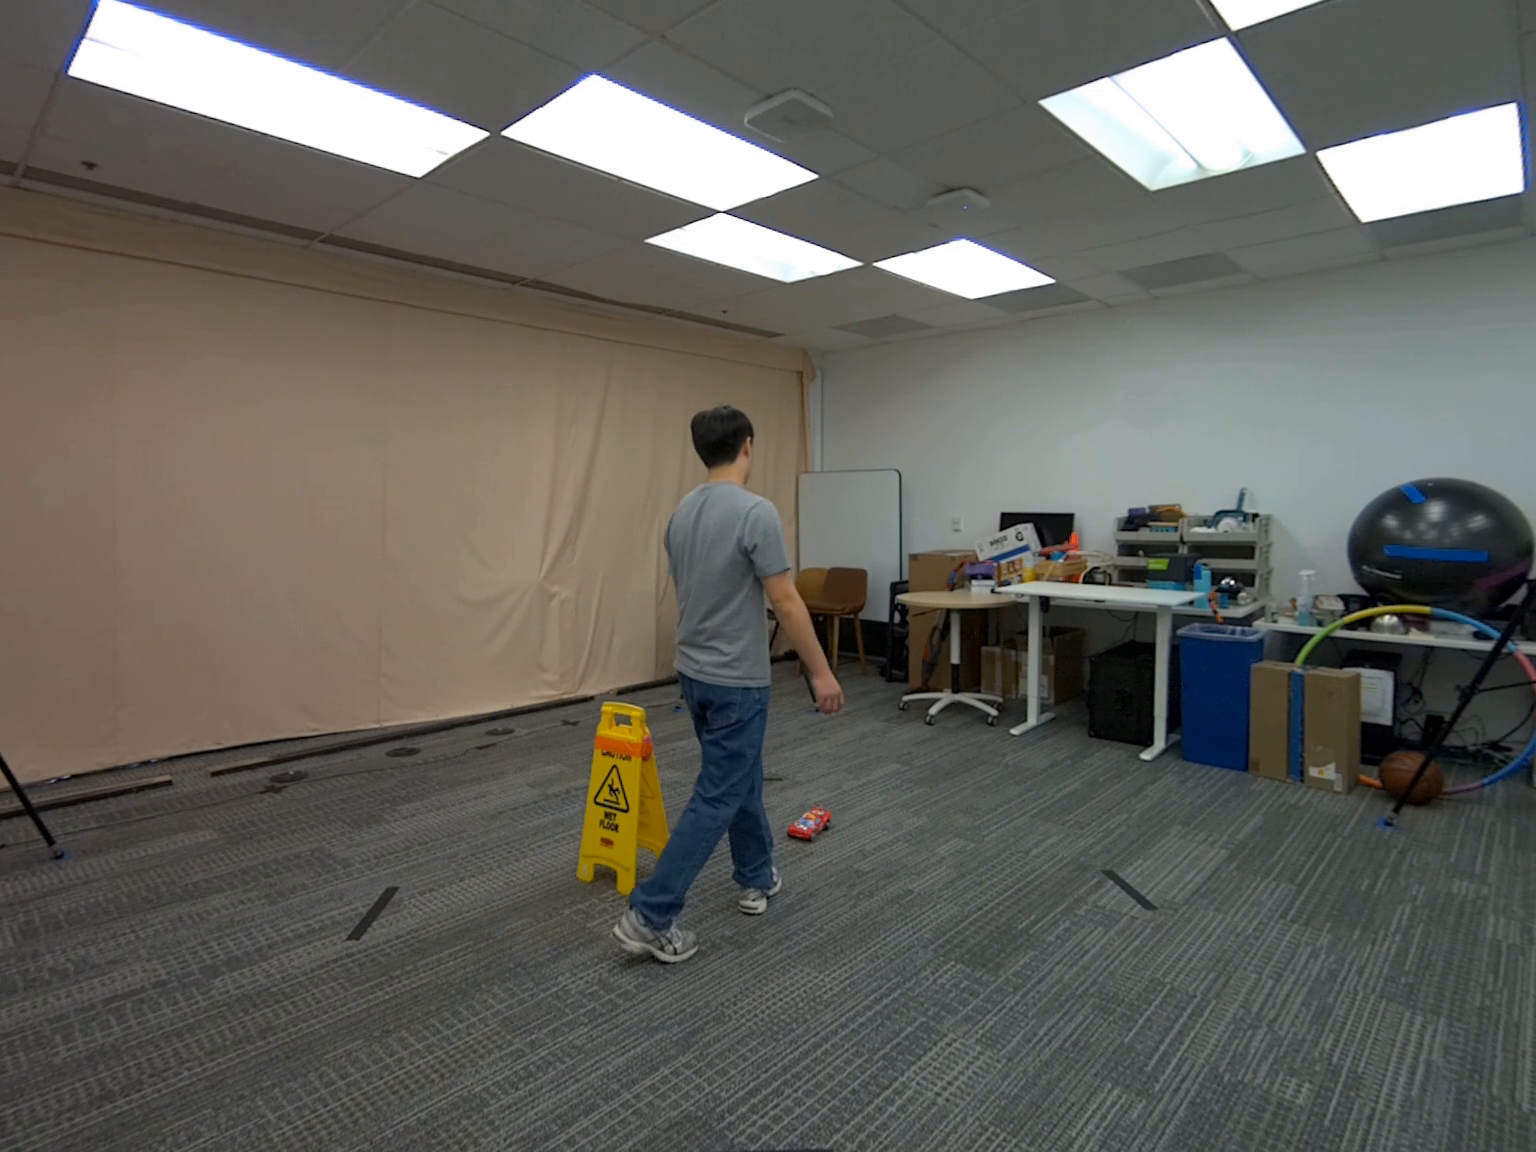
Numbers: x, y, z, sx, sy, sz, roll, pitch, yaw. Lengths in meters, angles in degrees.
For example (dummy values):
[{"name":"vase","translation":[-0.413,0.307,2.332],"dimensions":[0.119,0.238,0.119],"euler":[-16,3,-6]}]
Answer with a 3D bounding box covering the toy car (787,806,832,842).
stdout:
[{"name":"toy car","translation":[0.187,1.061,3.597],"dimensions":[0.134,0.082,0.249],"euler":[1,15,30]}]
